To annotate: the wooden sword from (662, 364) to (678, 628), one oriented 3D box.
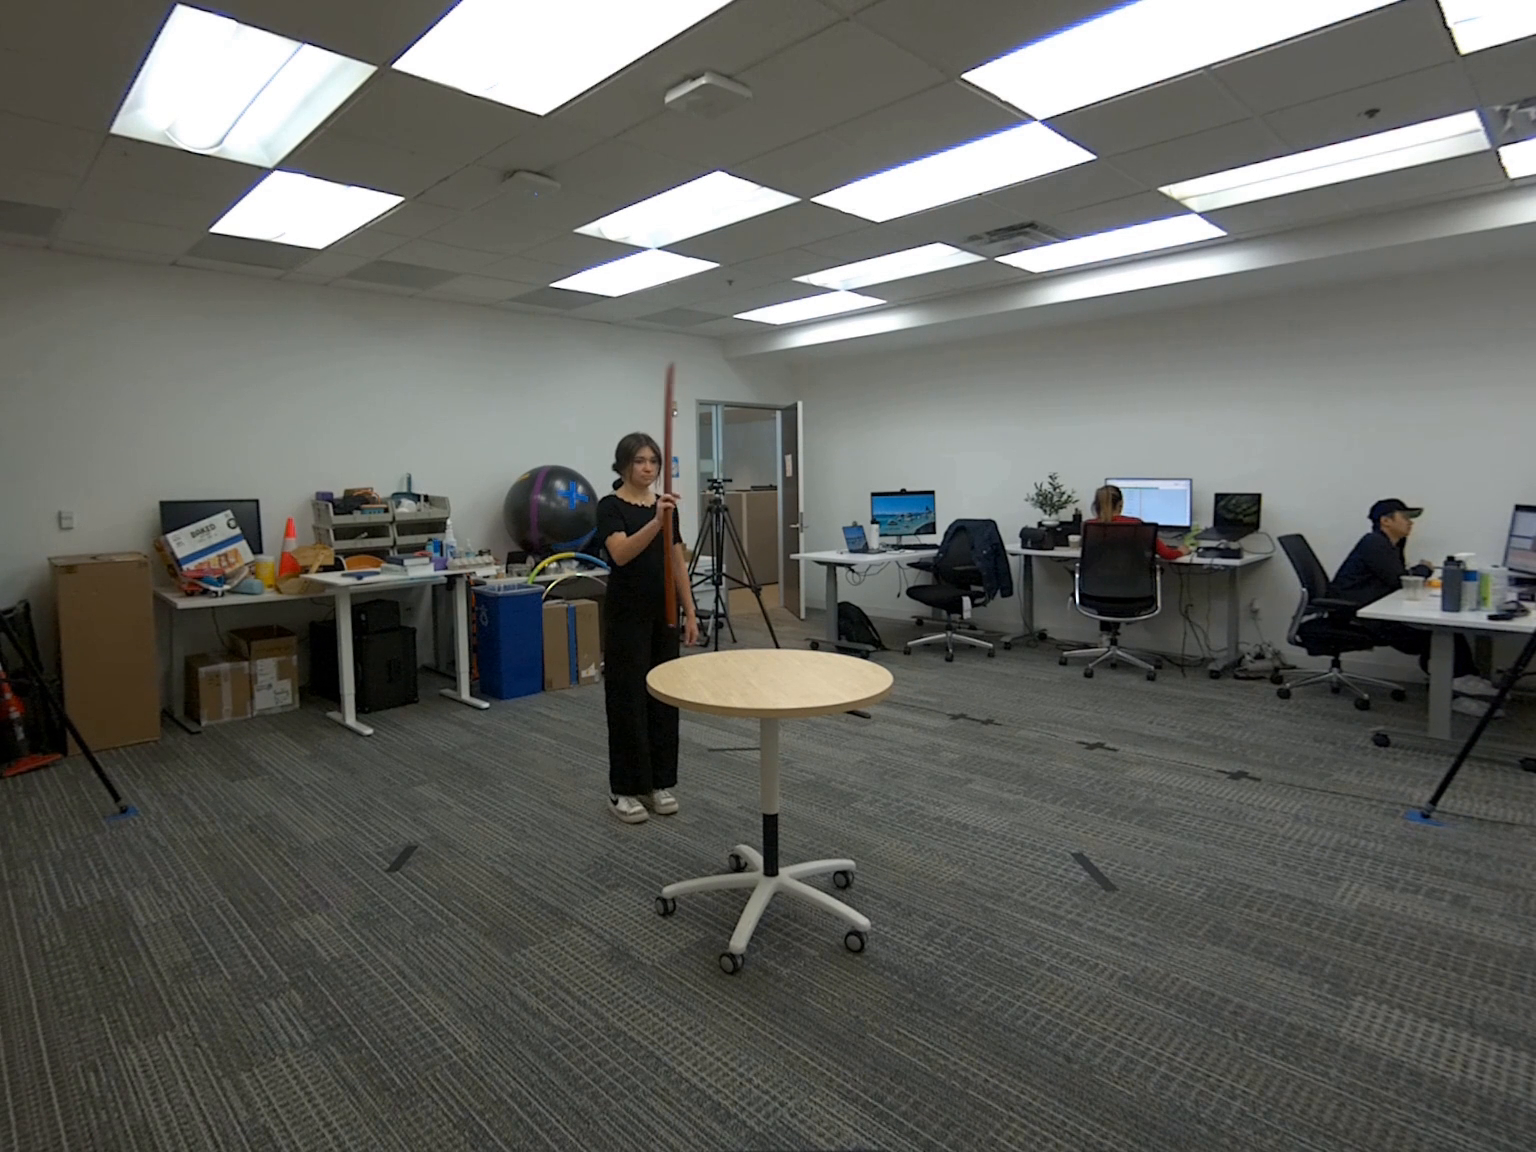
[{"bbox_3d":[-0.385,-0.304,3.258,0.050,1.033,0.024,6,-11,-36],"label":"wooden sword"}]
